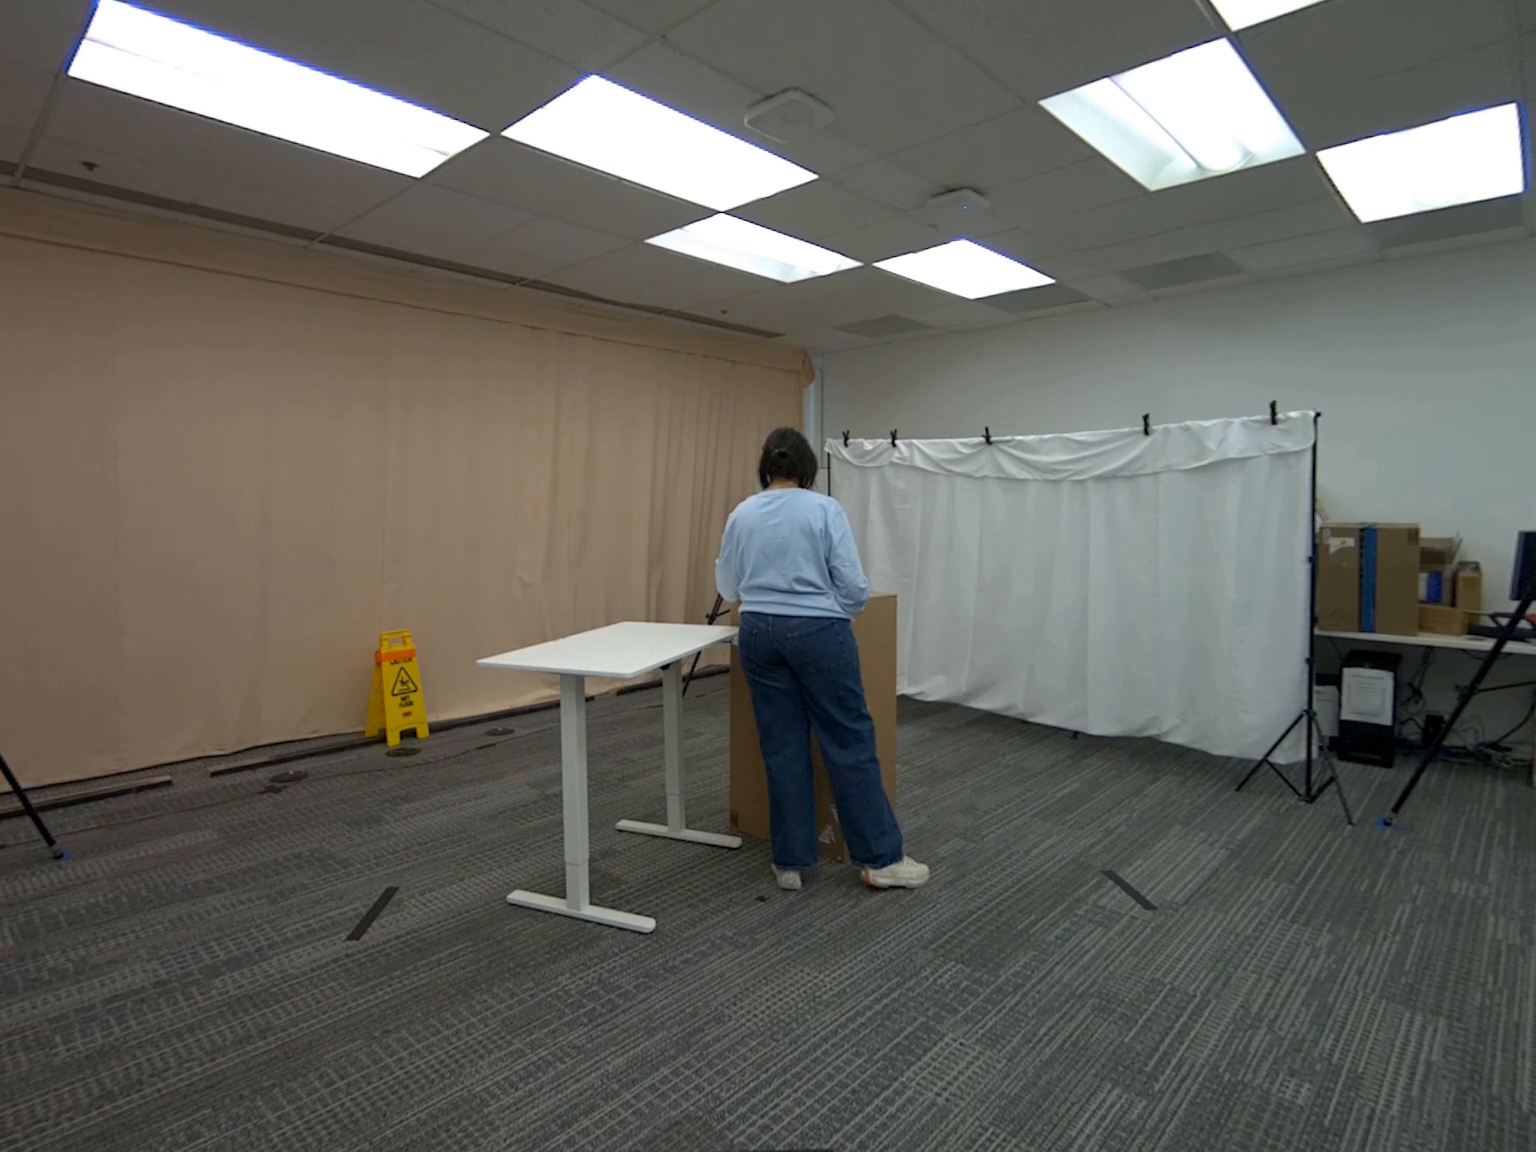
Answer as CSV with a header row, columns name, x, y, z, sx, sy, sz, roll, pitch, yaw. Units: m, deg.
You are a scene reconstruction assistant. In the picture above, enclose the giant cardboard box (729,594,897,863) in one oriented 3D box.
name,x,y,z,sx,sy,sz,roll,pitch,yaw
giant cardboard box,0.194,0.588,3.603,0.596,1.024,0.413,2,3,37
